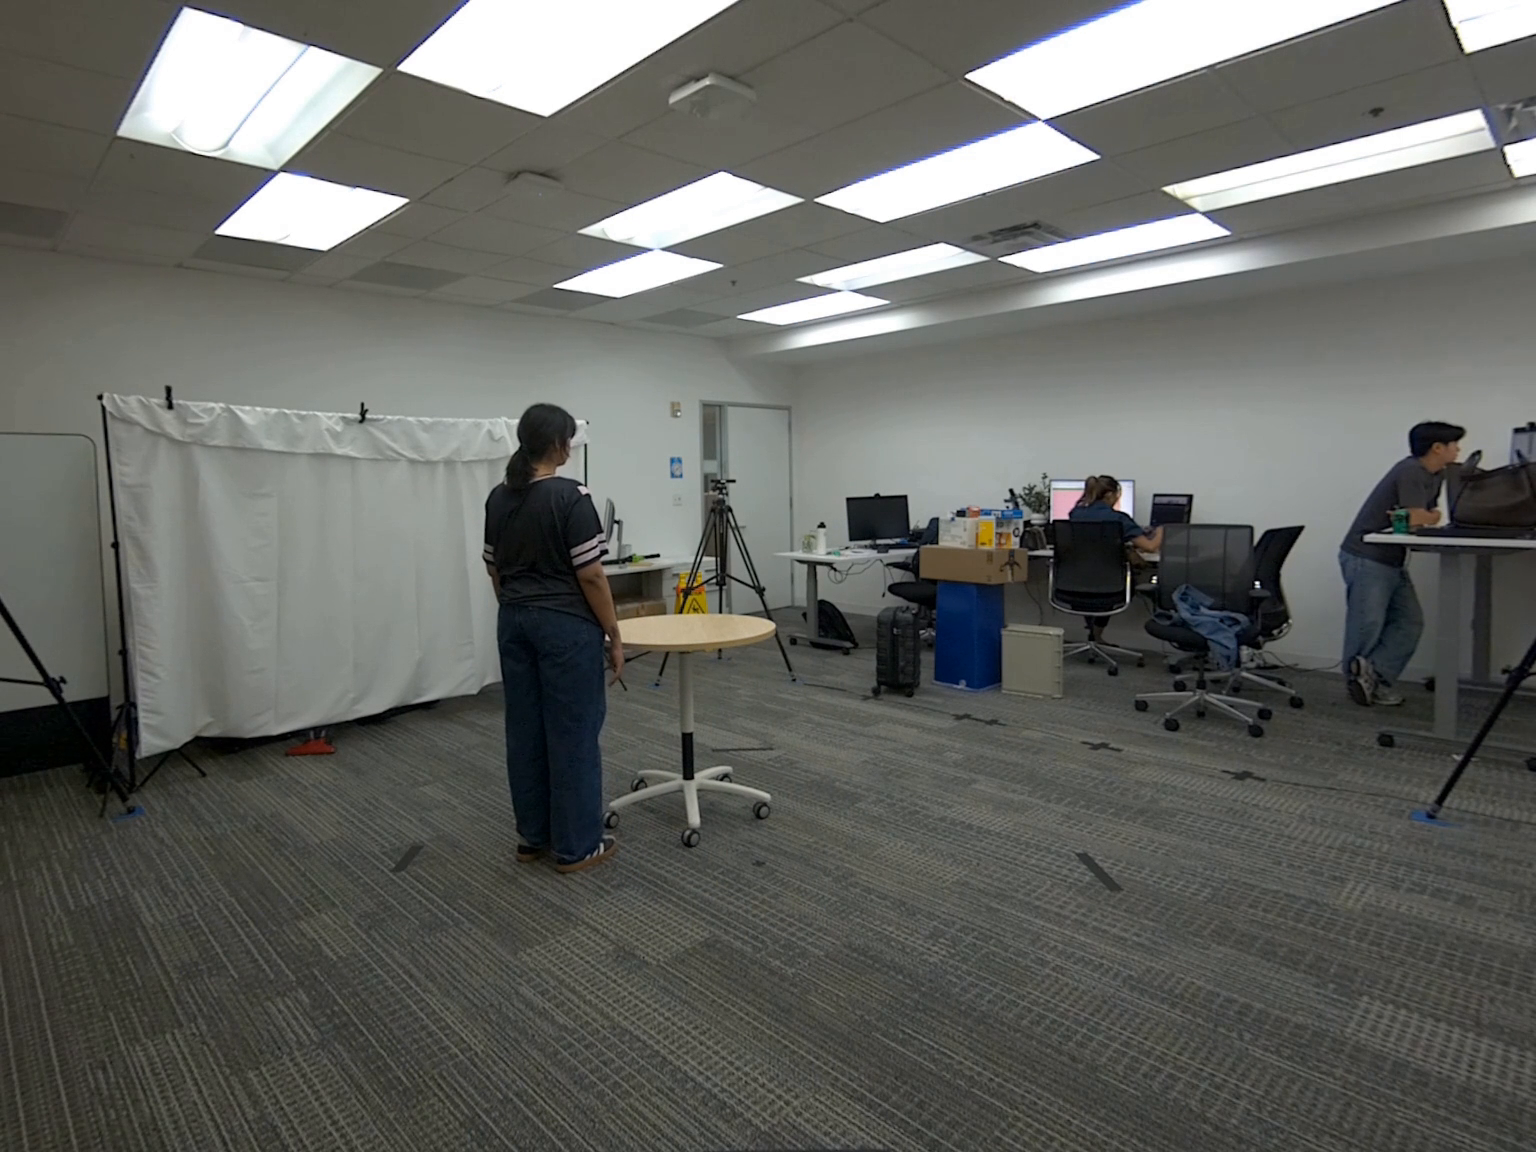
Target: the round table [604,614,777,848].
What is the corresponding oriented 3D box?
[{"bbox_3d":[-0.336,0.610,3.599,0.763,0.791,0.767,-2,4,-2],"label":"round table"}]
